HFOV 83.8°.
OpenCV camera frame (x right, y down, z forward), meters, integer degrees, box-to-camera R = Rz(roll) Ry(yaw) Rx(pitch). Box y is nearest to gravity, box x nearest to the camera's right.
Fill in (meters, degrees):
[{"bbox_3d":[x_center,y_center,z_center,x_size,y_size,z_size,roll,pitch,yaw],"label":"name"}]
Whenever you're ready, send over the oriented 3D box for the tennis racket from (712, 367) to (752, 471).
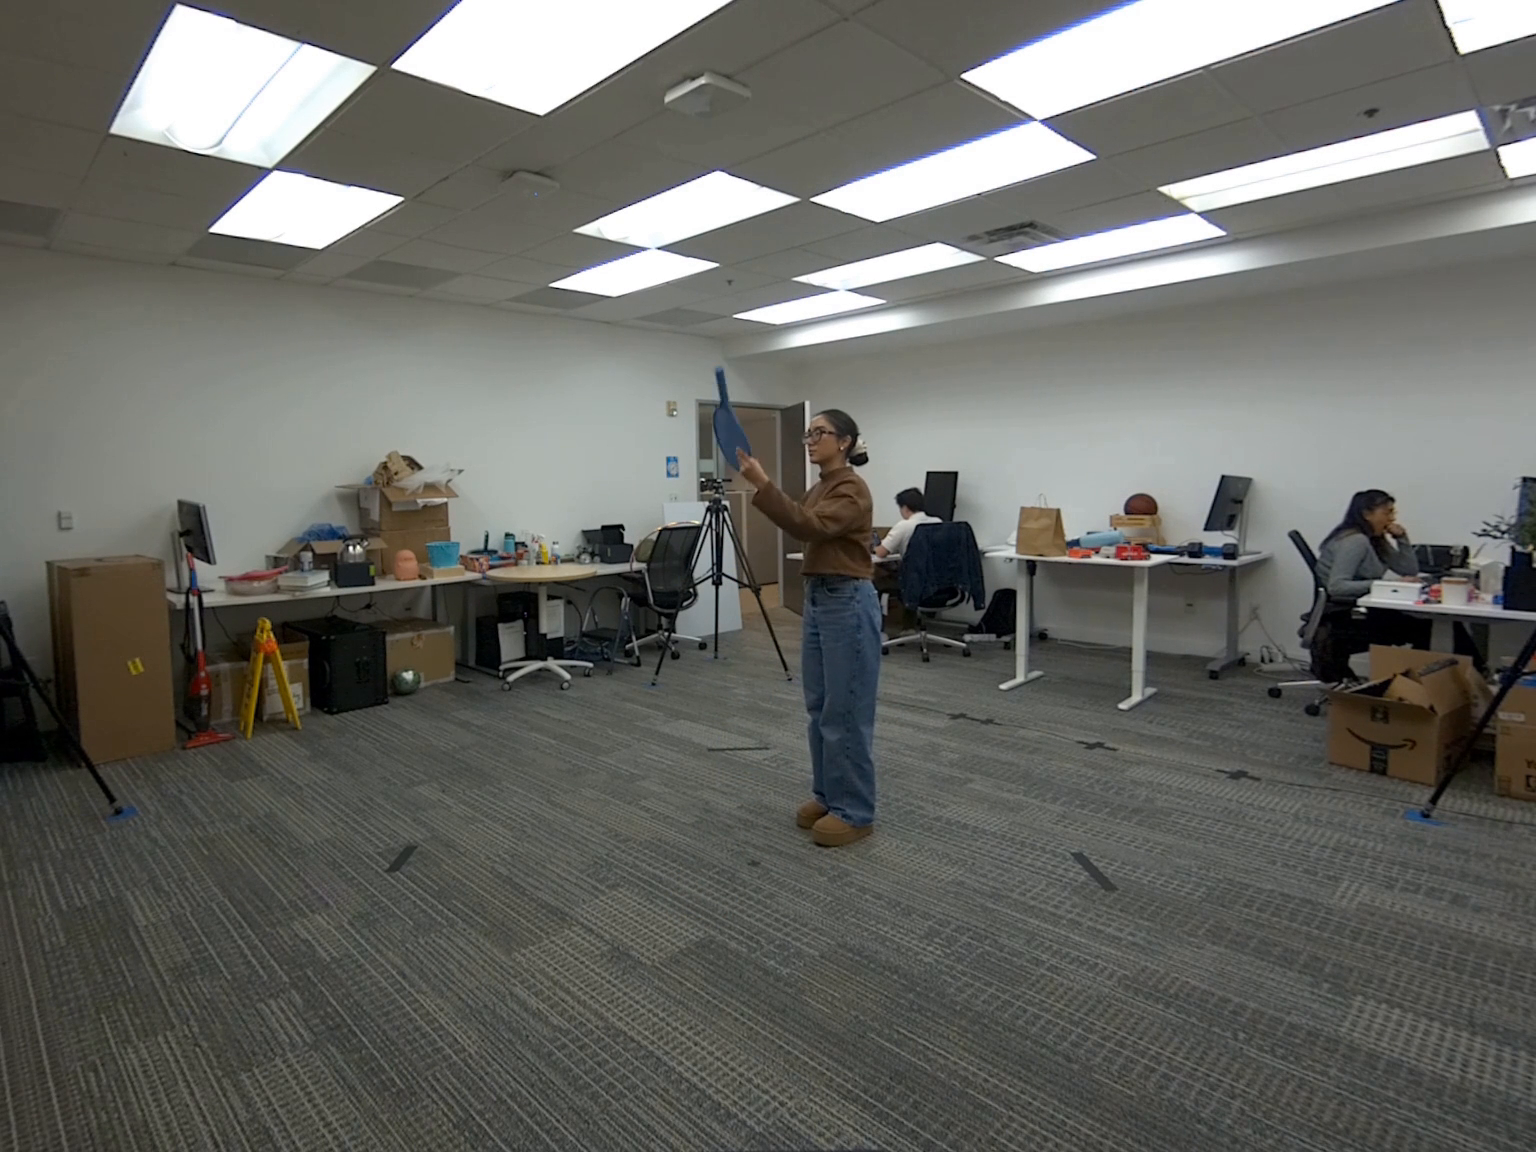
[{"bbox_3d":[-0.126,-0.518,2.971,0.031,0.420,0.222,-28,50,-23],"label":"tennis racket"}]
